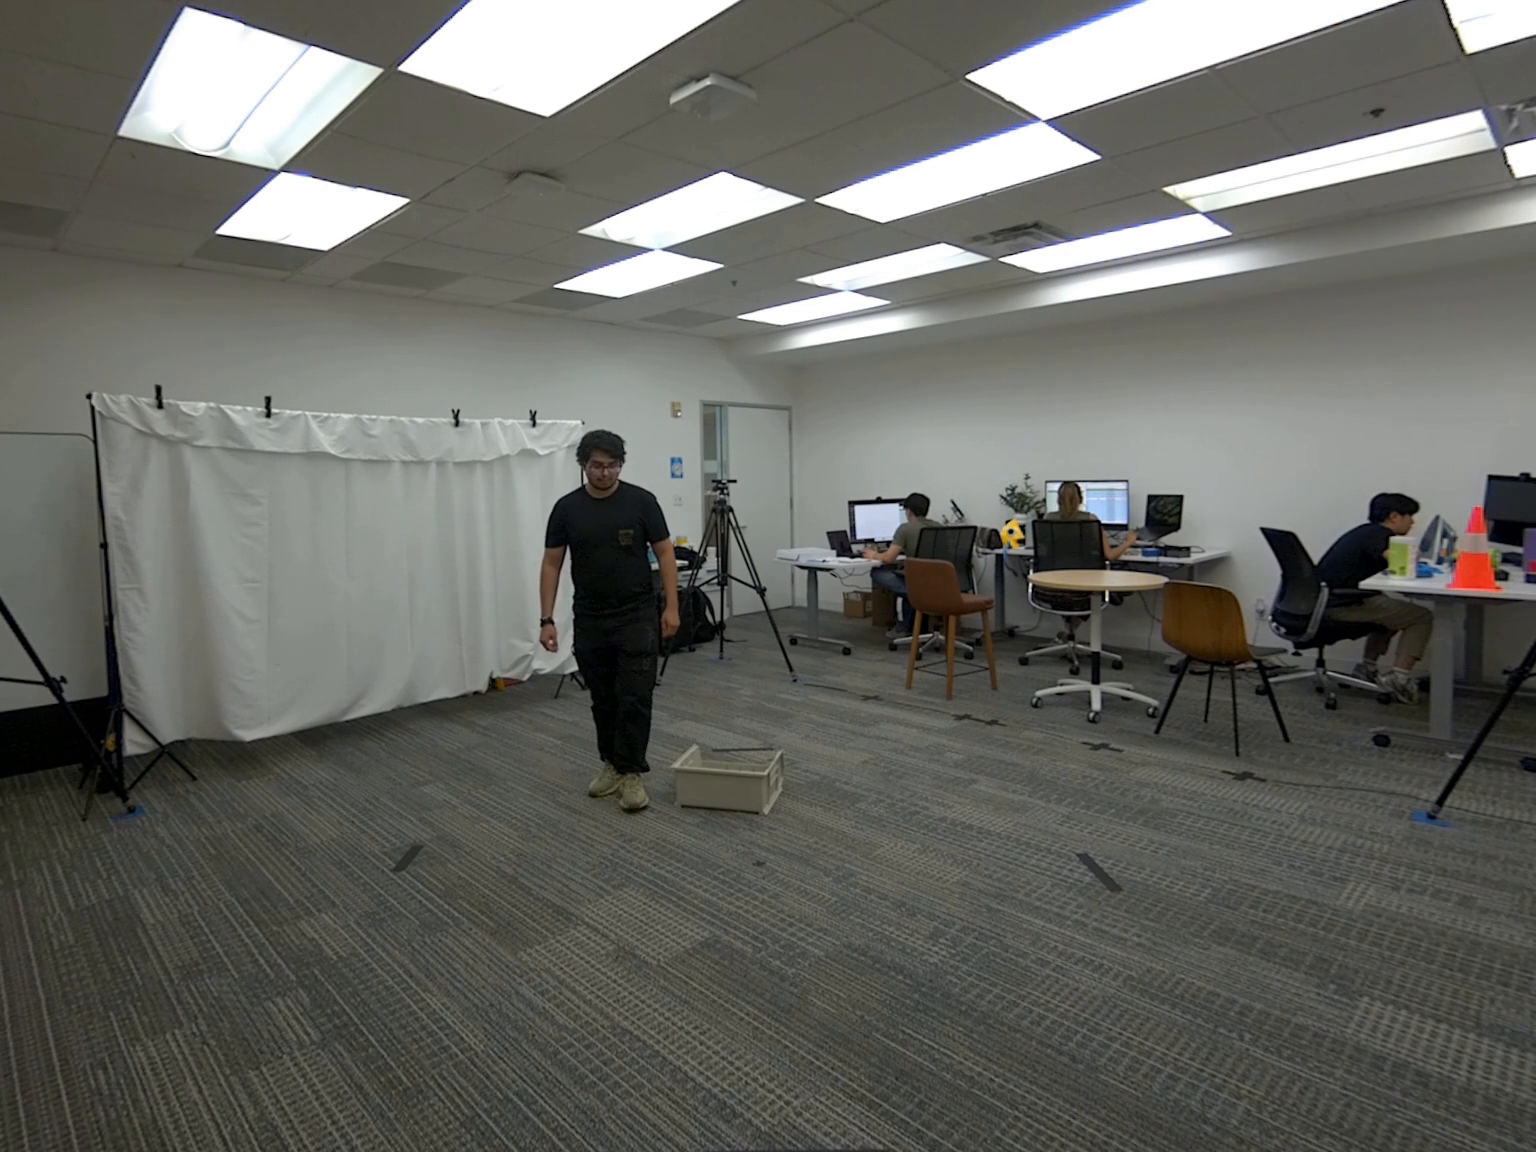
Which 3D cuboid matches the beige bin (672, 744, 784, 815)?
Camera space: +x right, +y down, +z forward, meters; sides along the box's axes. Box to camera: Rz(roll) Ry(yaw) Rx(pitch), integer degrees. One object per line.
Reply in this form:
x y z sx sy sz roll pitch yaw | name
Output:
-0.168 0.885 3.780 0.429 0.188 0.374 0 7 15 | beige bin
